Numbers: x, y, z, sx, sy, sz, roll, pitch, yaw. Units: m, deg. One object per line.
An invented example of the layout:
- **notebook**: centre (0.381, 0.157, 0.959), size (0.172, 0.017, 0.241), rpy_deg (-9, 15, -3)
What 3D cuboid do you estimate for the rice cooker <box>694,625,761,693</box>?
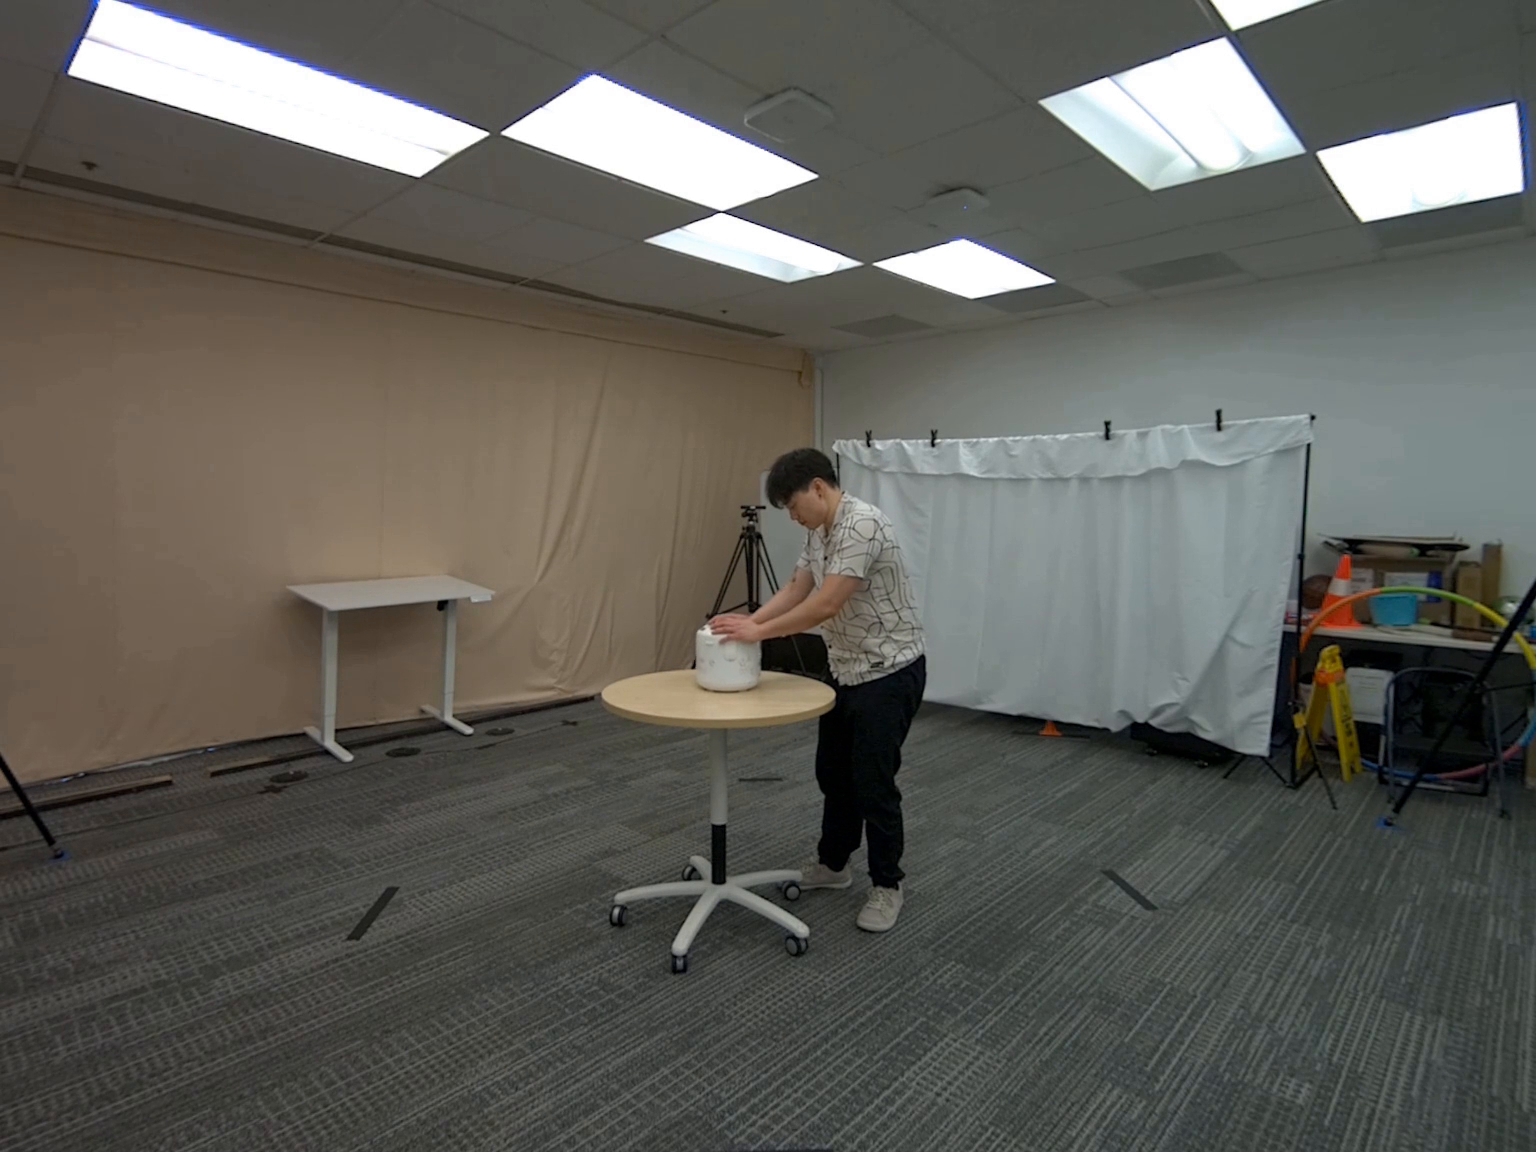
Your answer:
- **rice cooker**: centre (-0.132, 0.264, 2.833), size (0.216, 0.232, 0.223), rpy_deg (-1, 6, -6)
